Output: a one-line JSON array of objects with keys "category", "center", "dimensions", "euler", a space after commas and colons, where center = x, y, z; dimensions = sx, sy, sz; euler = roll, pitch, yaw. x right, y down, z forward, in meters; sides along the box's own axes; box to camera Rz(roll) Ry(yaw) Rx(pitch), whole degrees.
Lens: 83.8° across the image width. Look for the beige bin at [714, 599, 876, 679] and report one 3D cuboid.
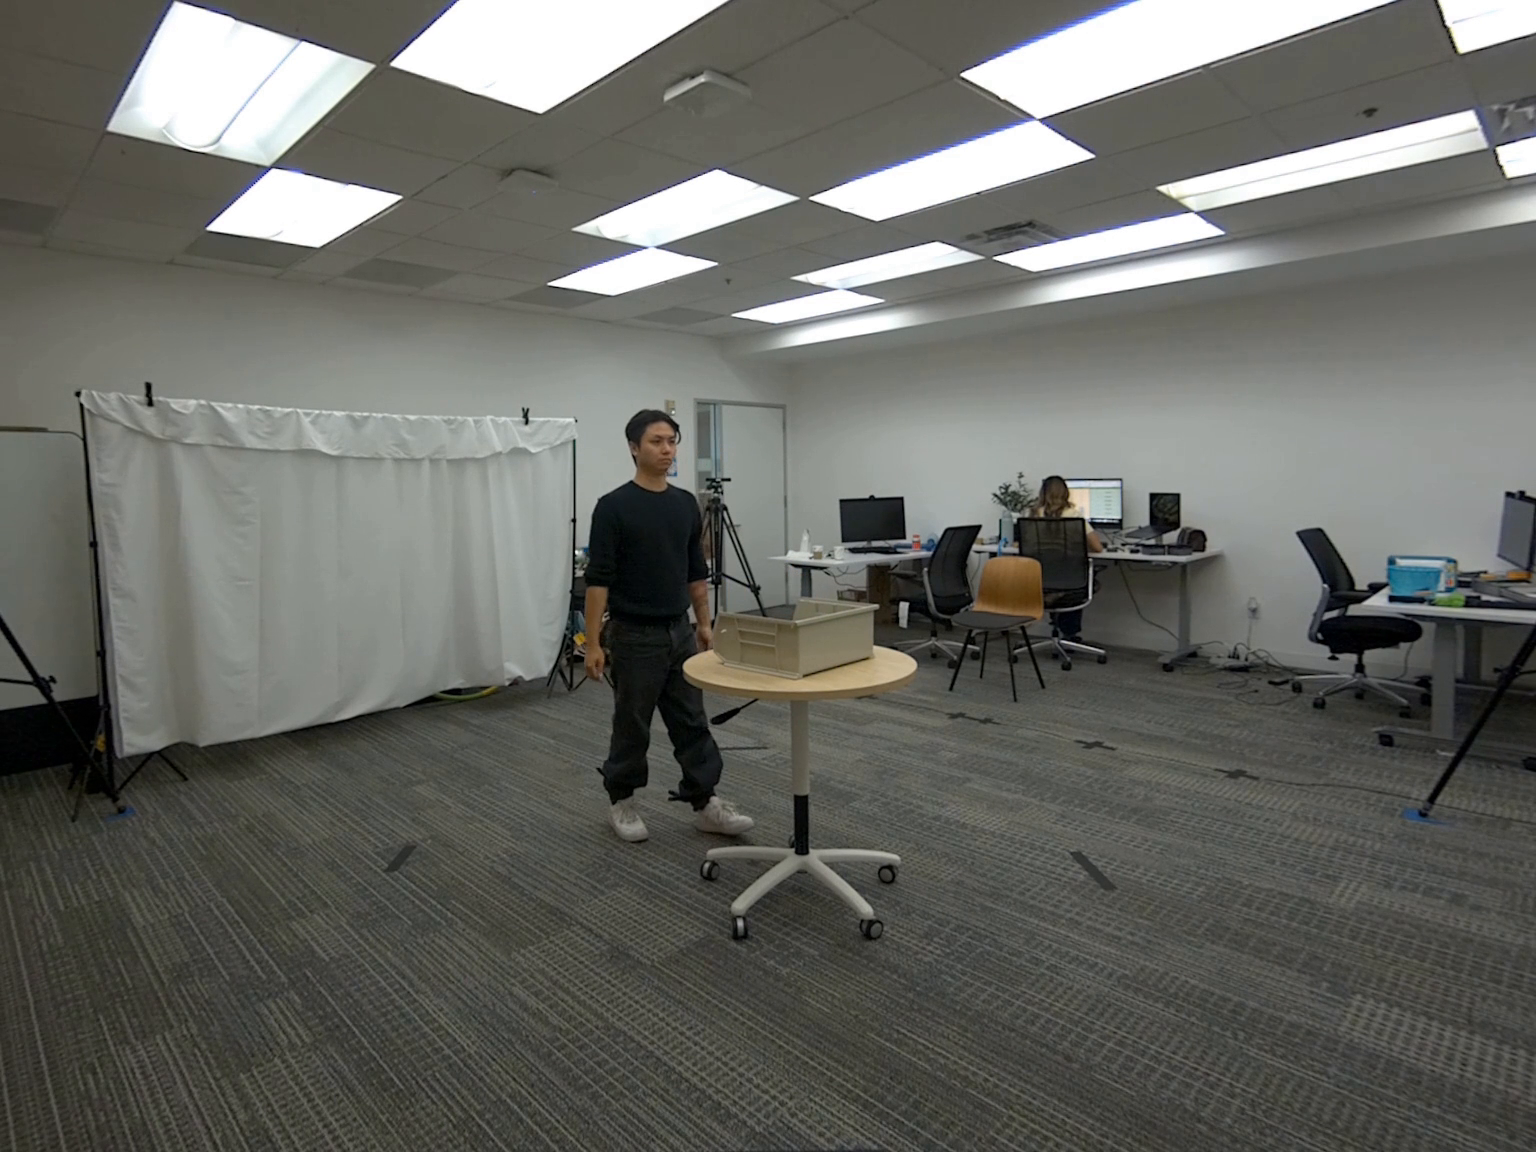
[{"category": "beige bin", "center": [0.091, 0.196, 2.843], "dimensions": [0.389, 0.188, 0.411], "euler": [6, 9, 44]}]
